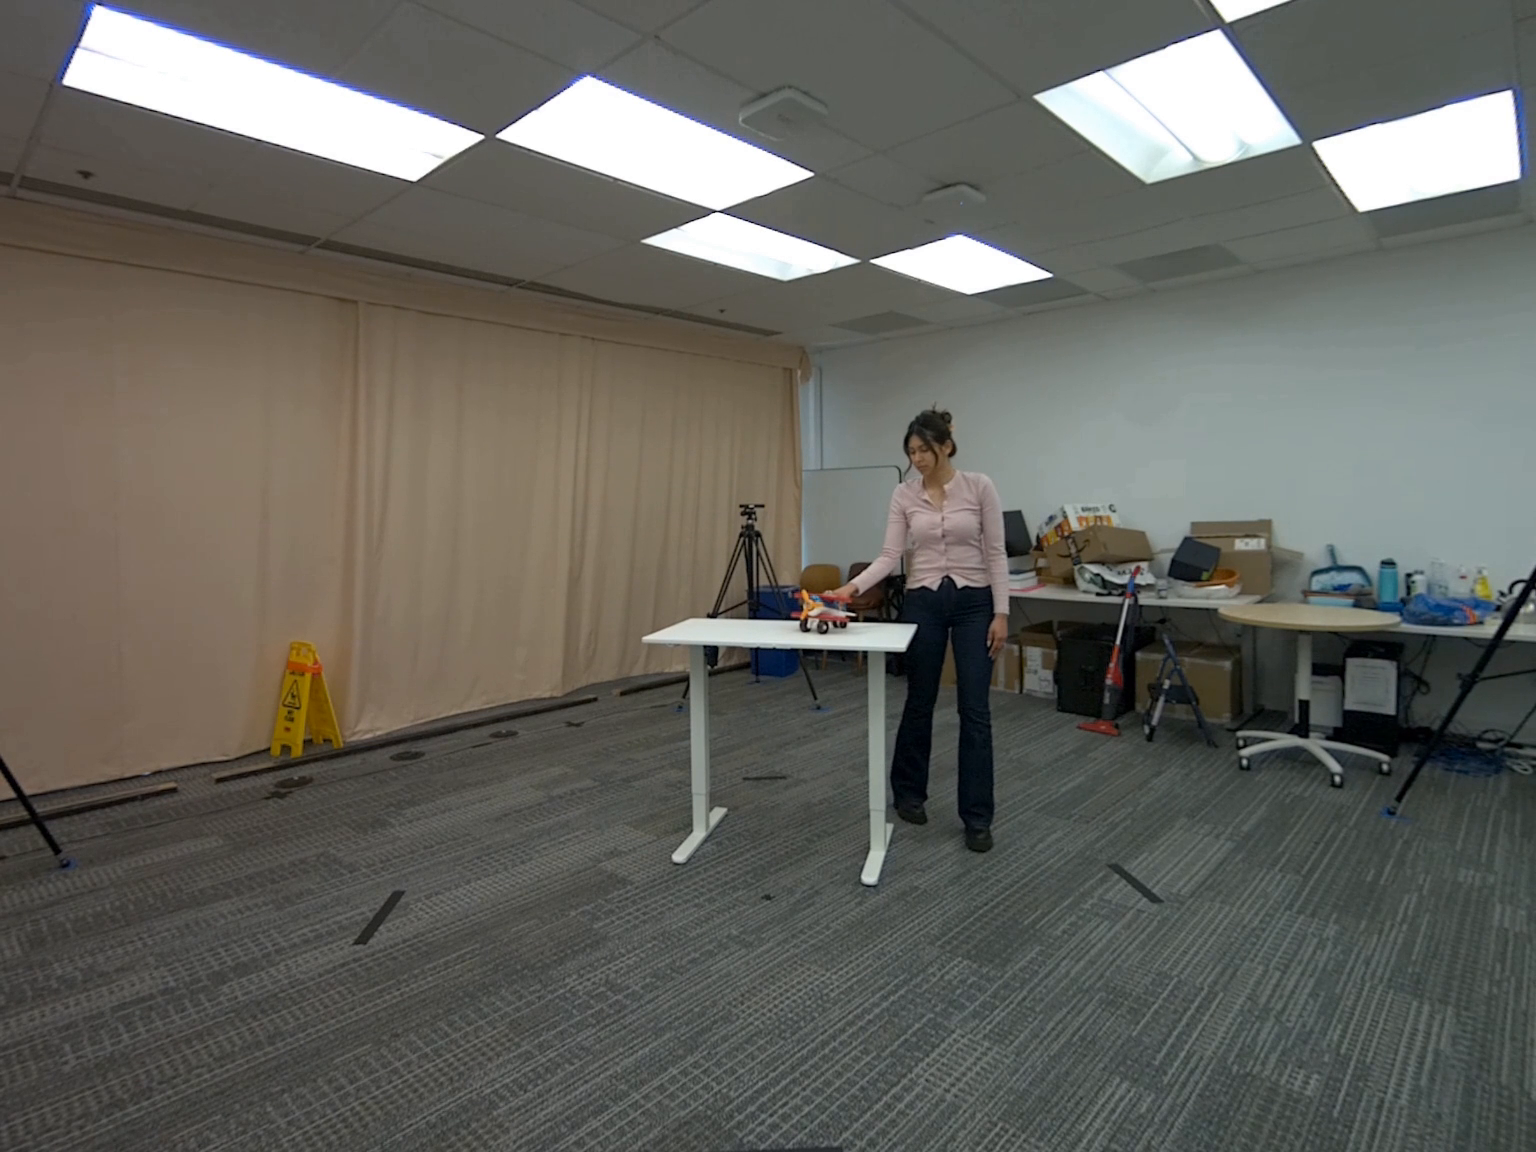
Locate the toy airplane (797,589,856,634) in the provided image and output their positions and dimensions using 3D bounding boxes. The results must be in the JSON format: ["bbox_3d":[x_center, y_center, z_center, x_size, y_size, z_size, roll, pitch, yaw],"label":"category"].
[{"bbox_3d":[0.225,0.144,3.400,0.255,0.156,0.256,0,5,13],"label":"toy airplane"}]
